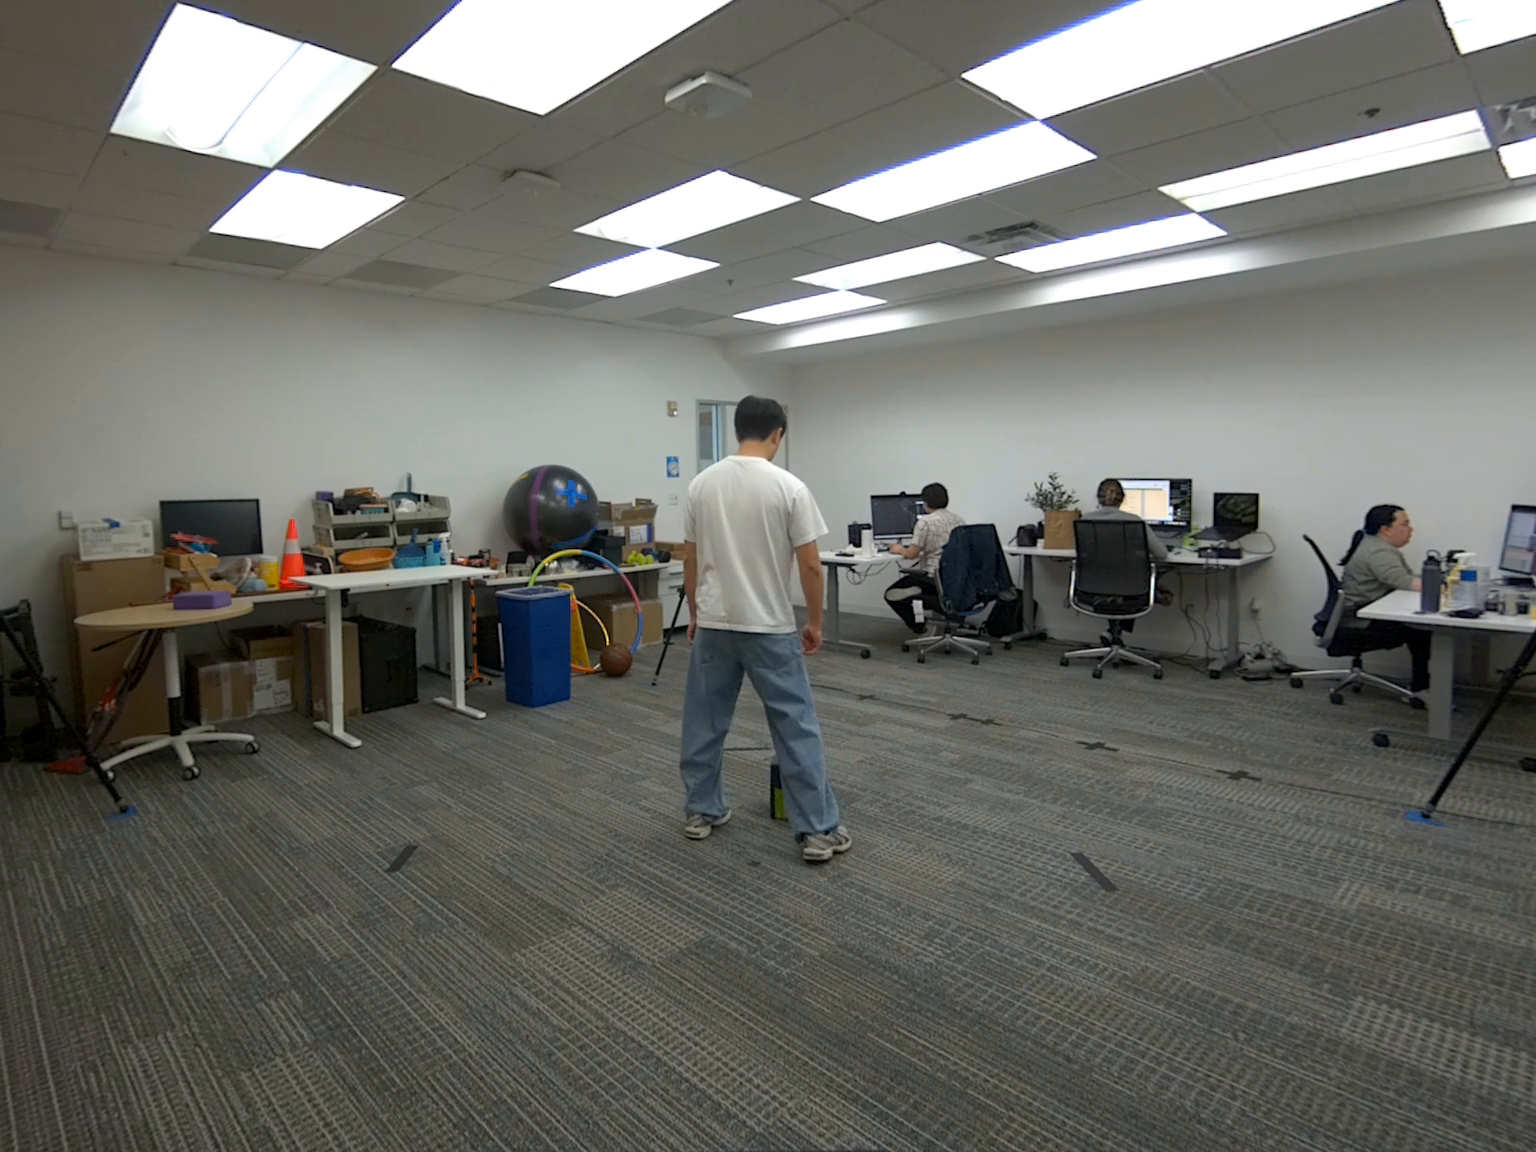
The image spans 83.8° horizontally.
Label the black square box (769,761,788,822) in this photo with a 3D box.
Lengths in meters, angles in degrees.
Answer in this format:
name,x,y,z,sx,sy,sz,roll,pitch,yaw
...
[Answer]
name,x,y,z,sx,sy,sz,roll,pitch,yaw
black square box,0.107,0.870,3.587,0.158,0.227,0.215,1,5,10
